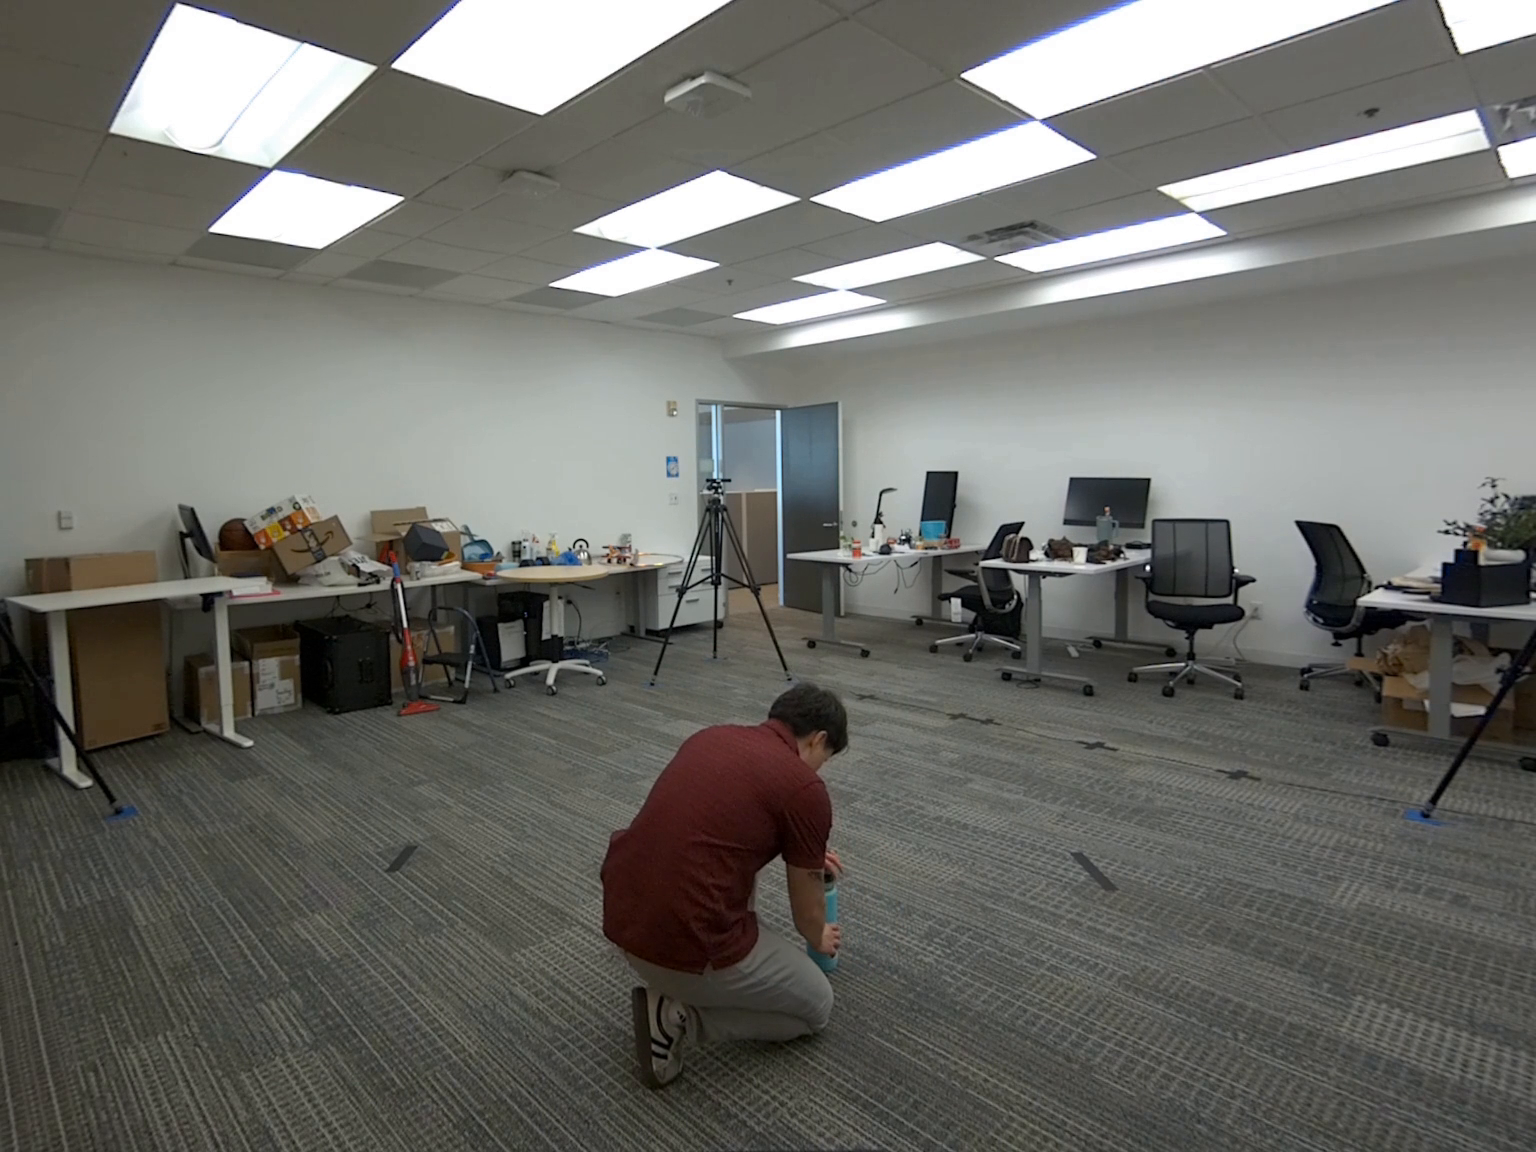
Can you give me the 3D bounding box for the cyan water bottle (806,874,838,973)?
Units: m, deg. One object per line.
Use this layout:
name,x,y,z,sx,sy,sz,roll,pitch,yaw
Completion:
cyan water bottle,0.165,0.981,2.450,0.092,0.282,0.093,-3,4,-1
